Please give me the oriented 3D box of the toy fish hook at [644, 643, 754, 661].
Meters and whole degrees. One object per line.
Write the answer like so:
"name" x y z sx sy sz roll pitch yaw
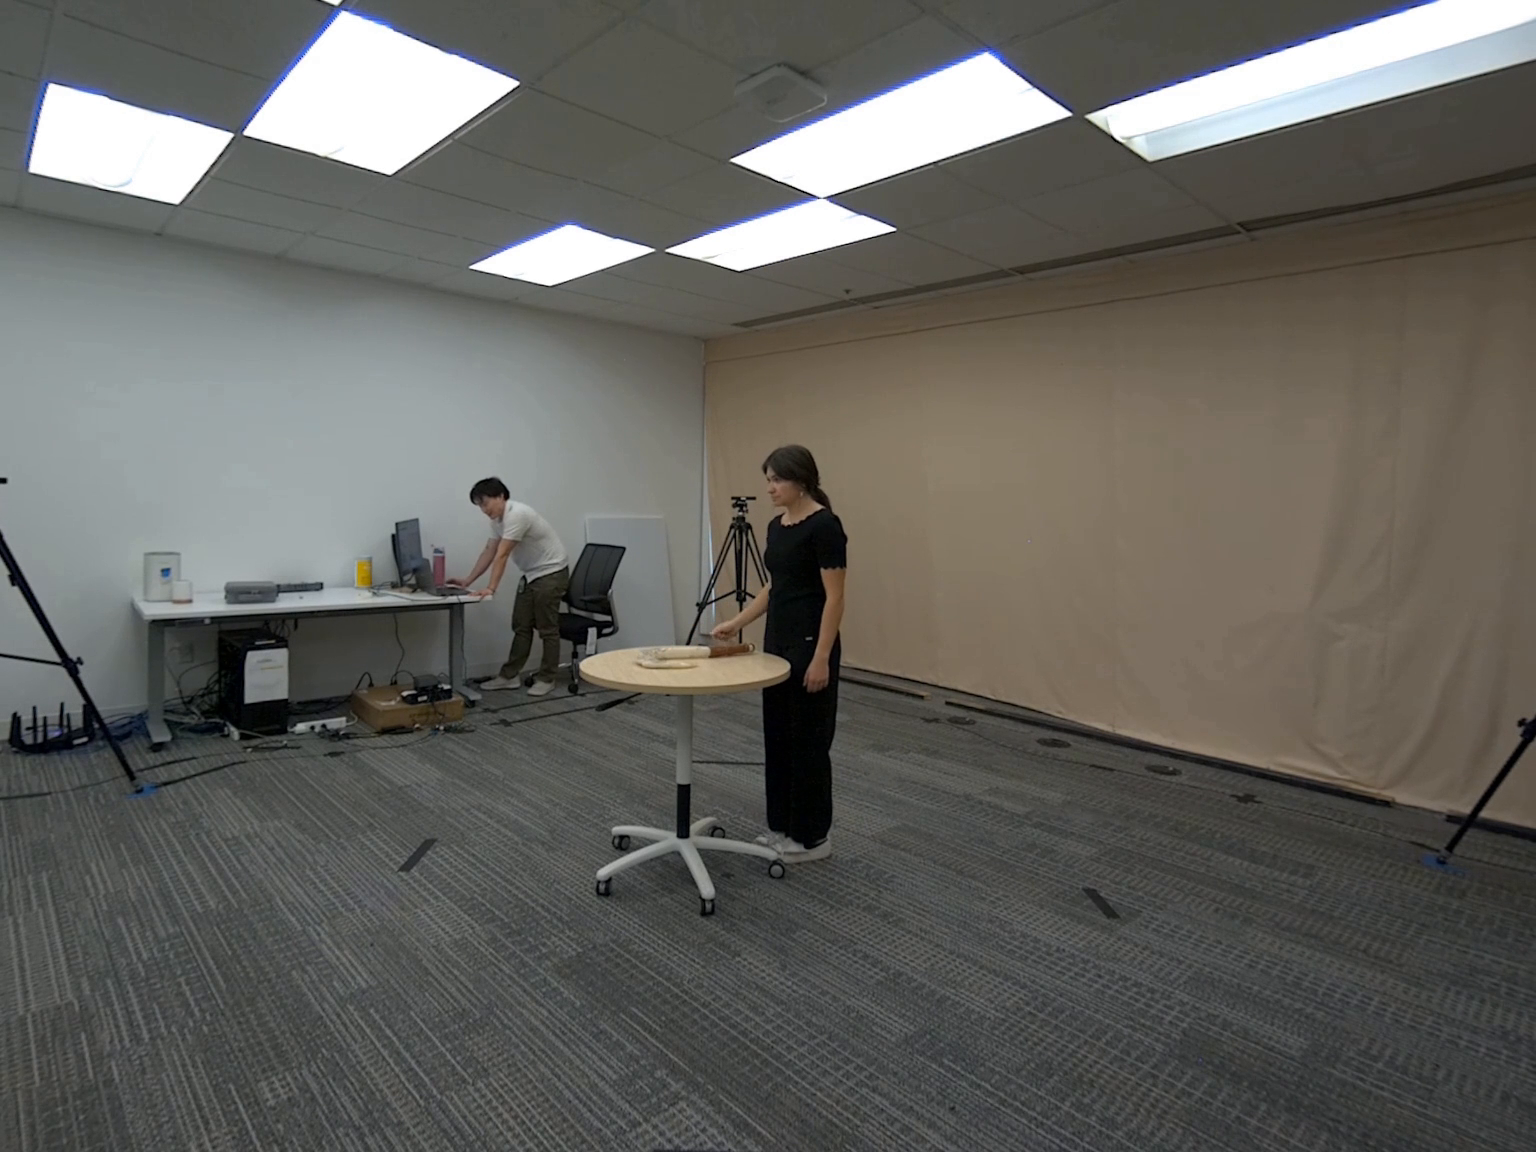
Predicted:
"toy fish hook" -0.261 0.305 3.128 0.497 0.048 0.230 -3 14 -29
